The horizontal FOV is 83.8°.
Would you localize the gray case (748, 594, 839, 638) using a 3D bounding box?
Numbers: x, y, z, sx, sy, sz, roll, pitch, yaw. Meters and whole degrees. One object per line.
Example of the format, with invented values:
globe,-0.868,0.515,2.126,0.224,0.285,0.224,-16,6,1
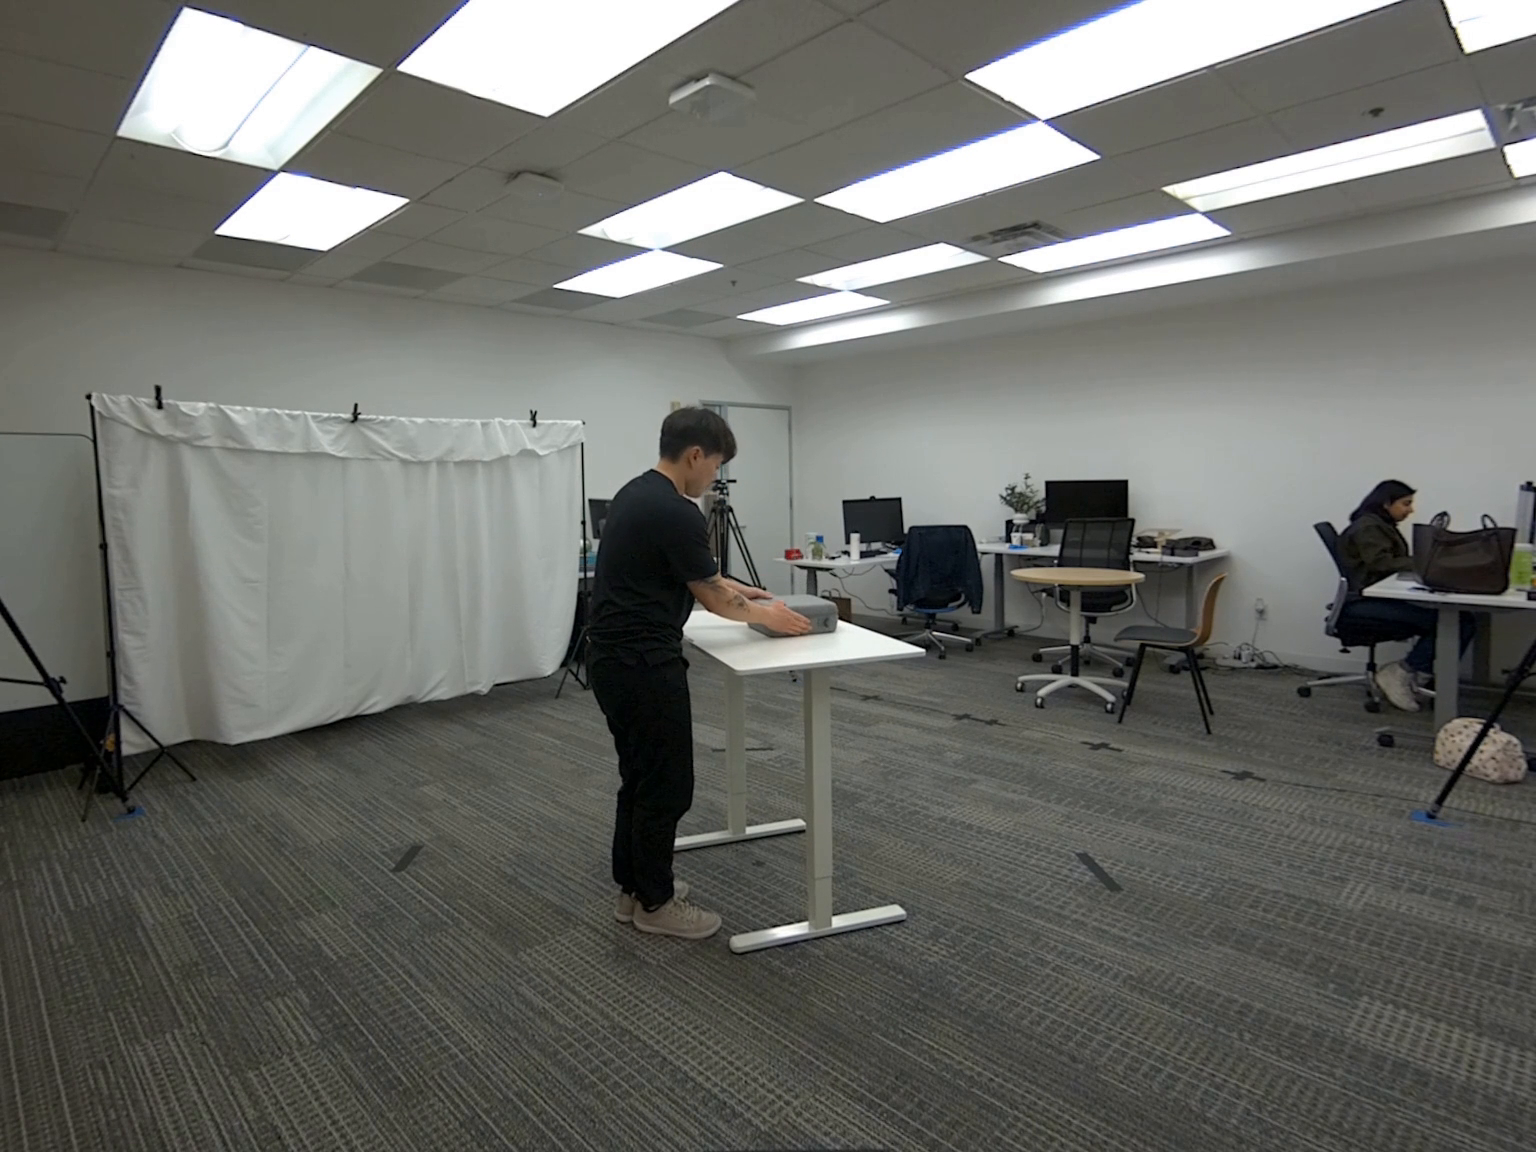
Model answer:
gray case,0.090,0.131,2.923,0.256,0.104,0.262,-3,6,-20
